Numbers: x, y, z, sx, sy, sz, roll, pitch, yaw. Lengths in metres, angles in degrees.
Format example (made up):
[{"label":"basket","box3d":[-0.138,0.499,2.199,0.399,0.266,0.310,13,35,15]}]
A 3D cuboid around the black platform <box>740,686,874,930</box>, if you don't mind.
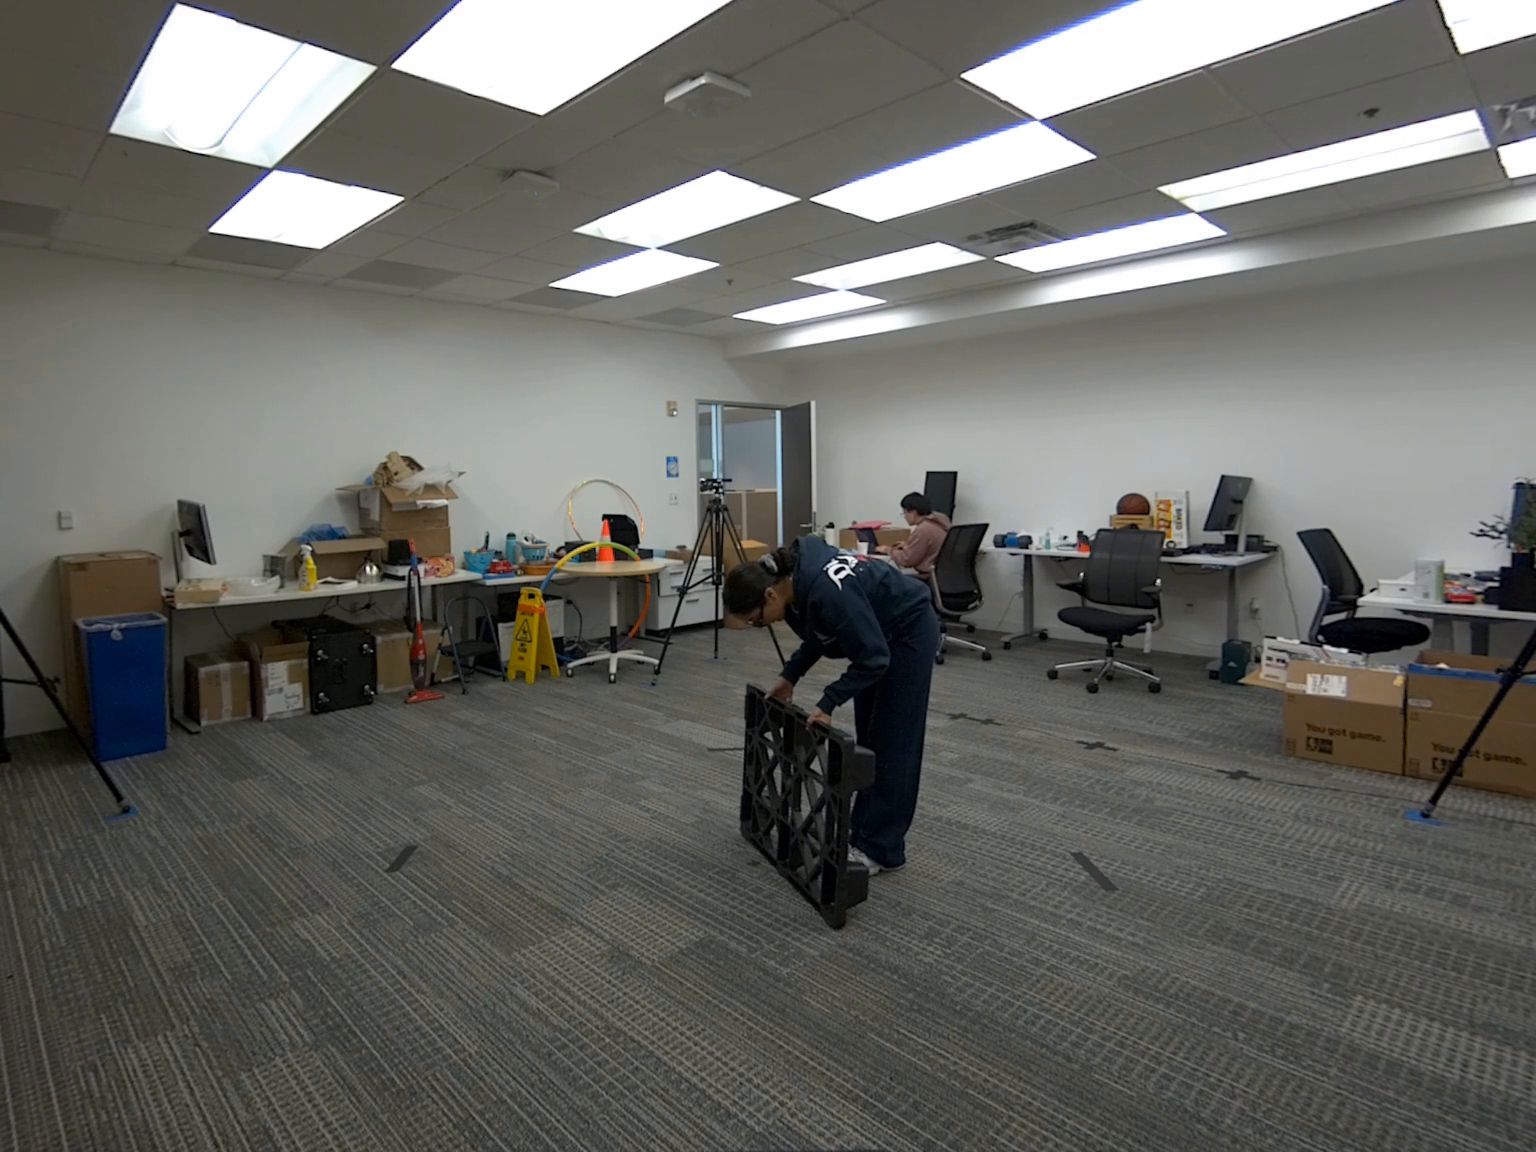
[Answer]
[{"label":"black platform","box3d":[0.123,0.758,3.010,0.140,0.603,0.824,2,4,-23]}]
